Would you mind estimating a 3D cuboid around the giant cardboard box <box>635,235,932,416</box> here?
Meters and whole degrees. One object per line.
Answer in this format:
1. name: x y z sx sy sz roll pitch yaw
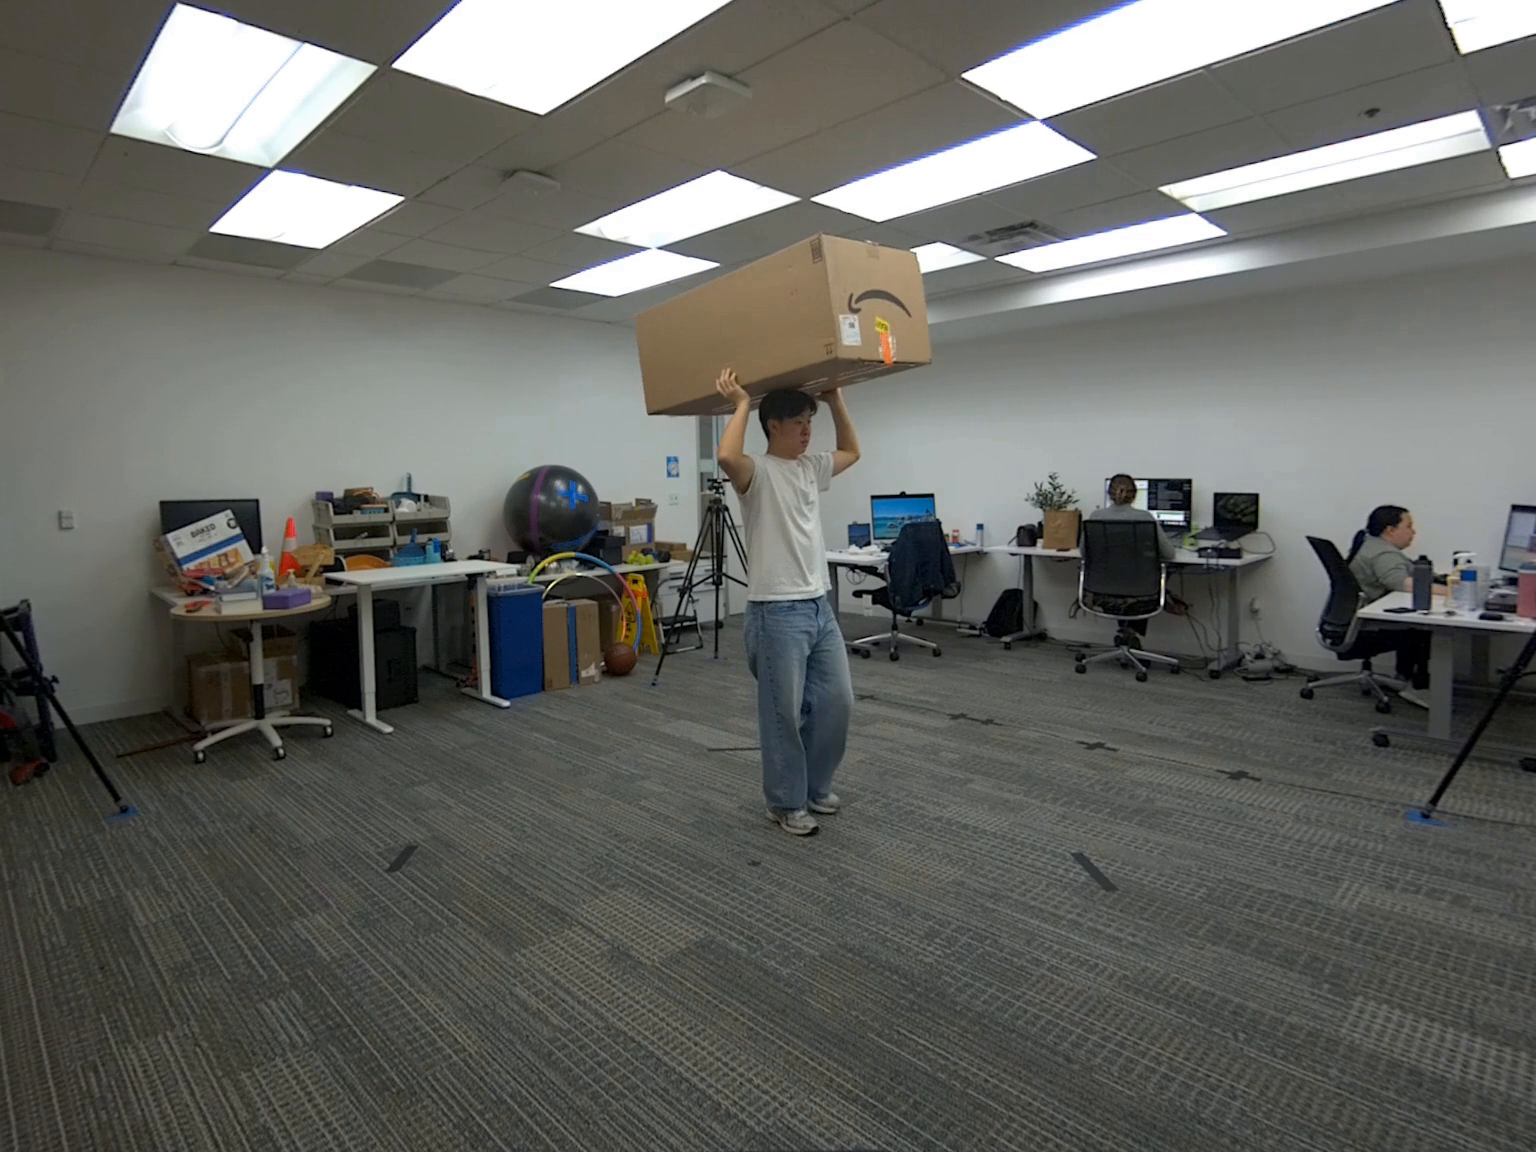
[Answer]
1. giant cardboard box: 0.029 -0.934 3.386 1.053 0.425 0.564 -4 5 45
